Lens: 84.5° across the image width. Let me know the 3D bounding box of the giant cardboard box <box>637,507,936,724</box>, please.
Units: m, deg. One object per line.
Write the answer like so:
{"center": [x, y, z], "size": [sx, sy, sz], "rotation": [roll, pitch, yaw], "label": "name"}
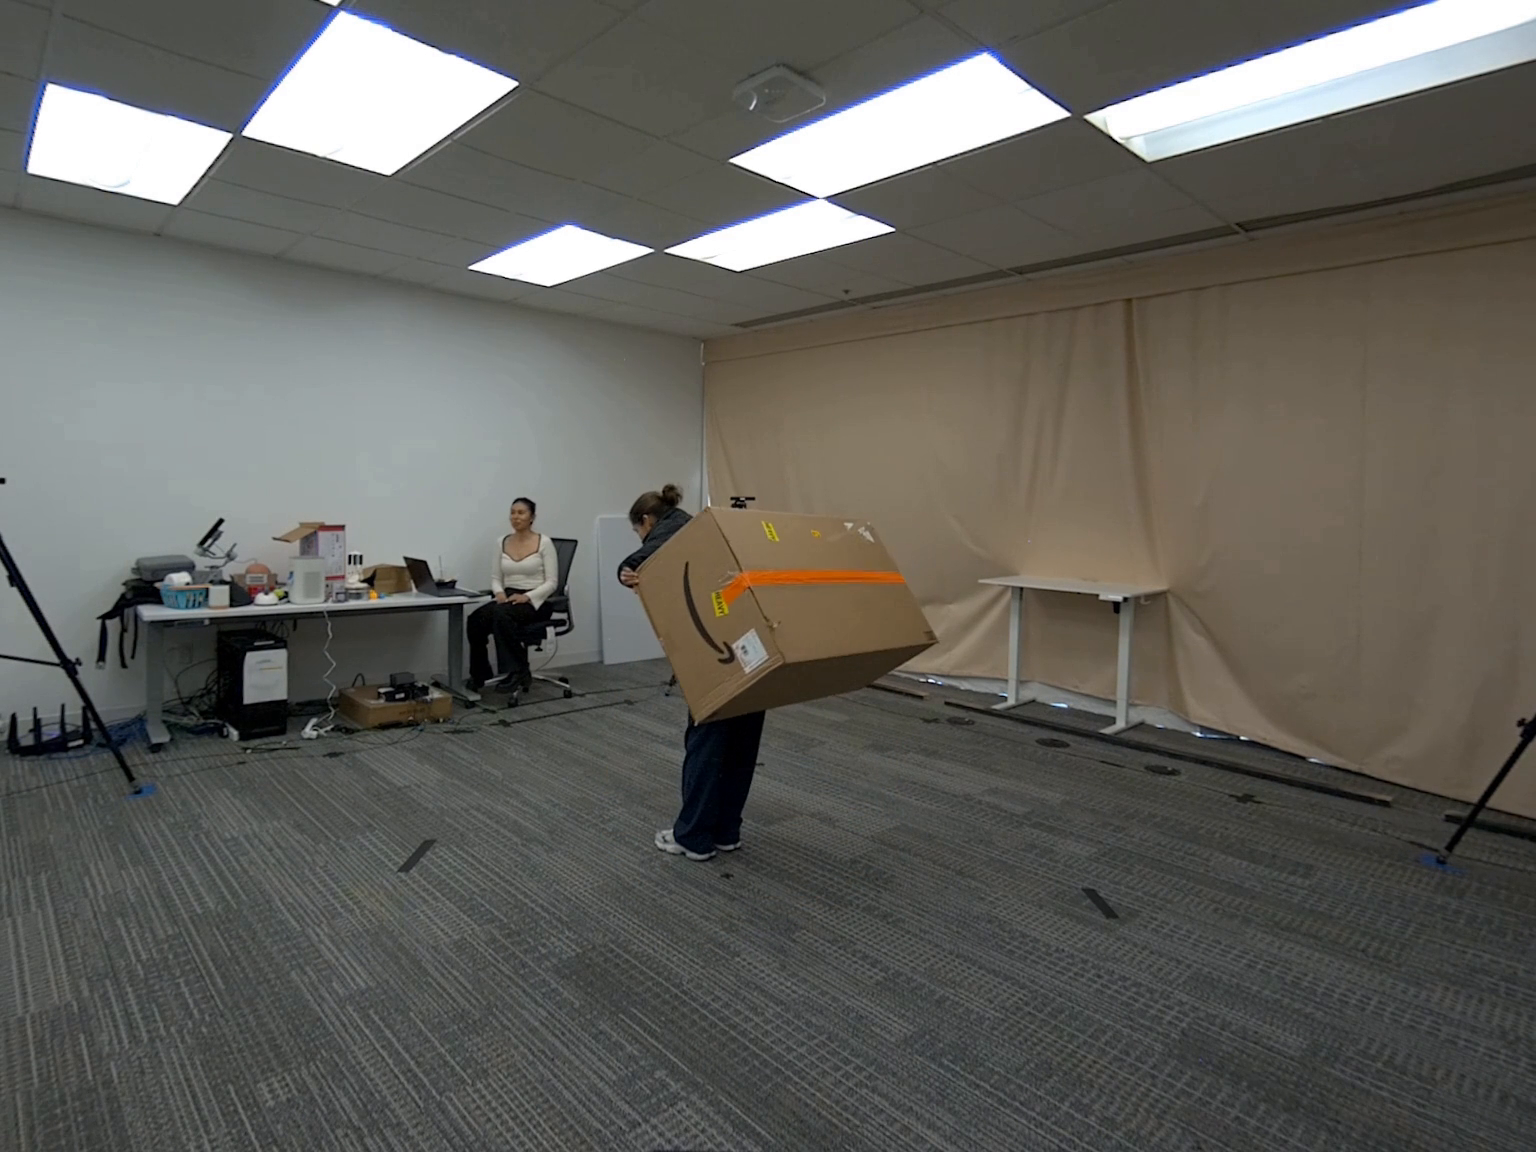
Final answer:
{"center": [0.092, 0.129, 3.084], "size": [0.427, 0.589, 1.002], "rotation": [-40, -23, 31], "label": "giant cardboard box"}
